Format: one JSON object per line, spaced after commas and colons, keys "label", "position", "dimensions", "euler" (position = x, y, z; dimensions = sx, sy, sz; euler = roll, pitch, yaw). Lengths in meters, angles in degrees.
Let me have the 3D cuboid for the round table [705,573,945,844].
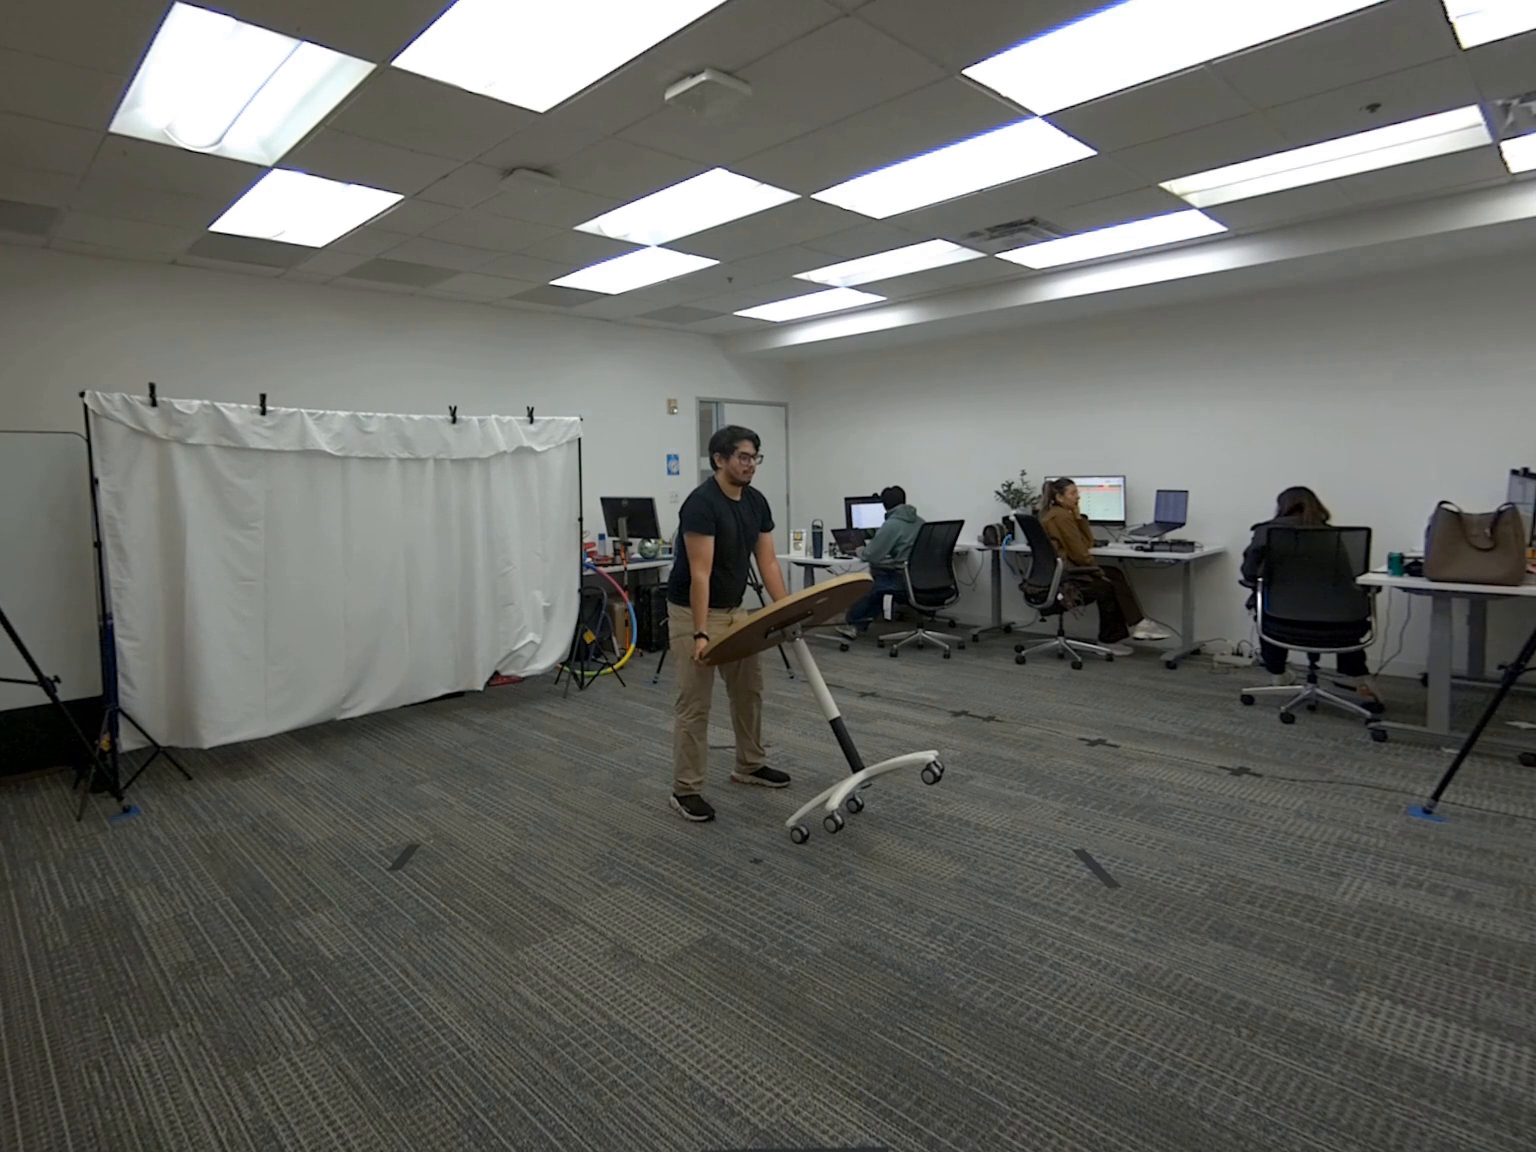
{"label": "round table", "position": [0.234, 0.527, 3.345], "dimensions": [0.781, 0.802, 0.773], "euler": [-23, -15, -8]}
